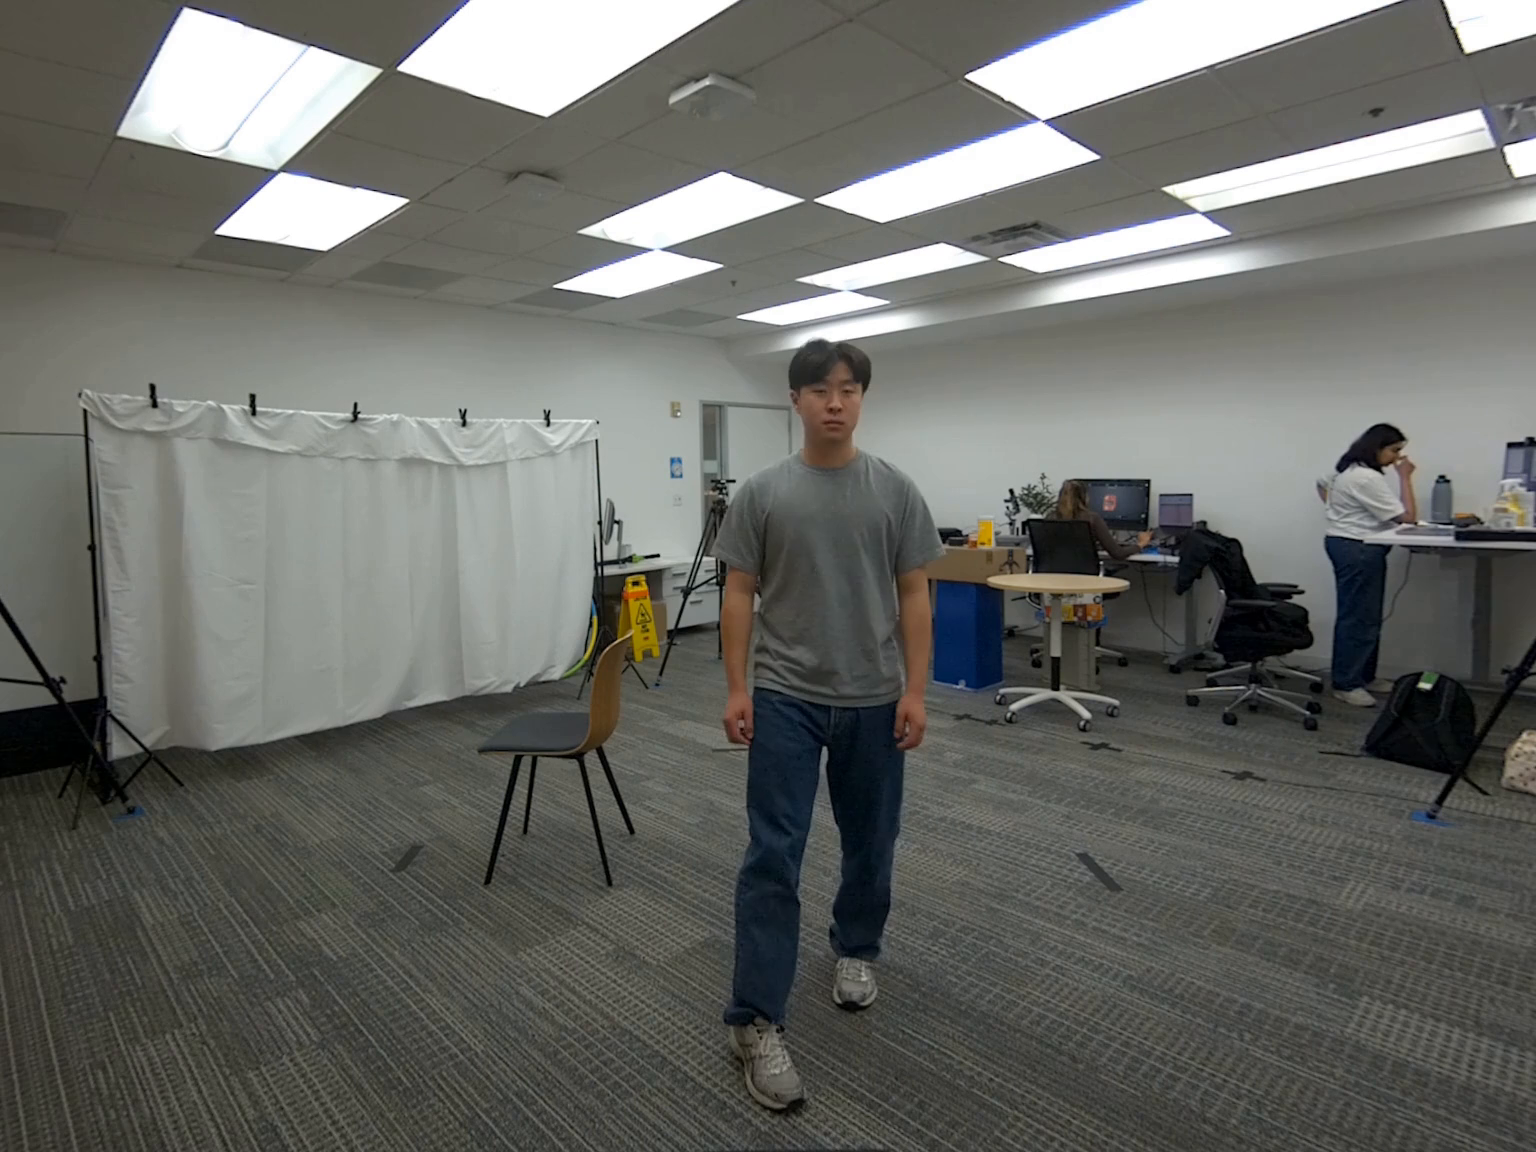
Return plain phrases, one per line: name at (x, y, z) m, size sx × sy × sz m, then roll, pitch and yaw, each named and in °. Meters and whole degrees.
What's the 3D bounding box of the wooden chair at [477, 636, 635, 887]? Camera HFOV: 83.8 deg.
wooden chair at (-0.779, 0.632, 3.149) m, size 0.525 × 0.874 × 0.479 m, roll 2°, pitch 4°, yaw 2°
